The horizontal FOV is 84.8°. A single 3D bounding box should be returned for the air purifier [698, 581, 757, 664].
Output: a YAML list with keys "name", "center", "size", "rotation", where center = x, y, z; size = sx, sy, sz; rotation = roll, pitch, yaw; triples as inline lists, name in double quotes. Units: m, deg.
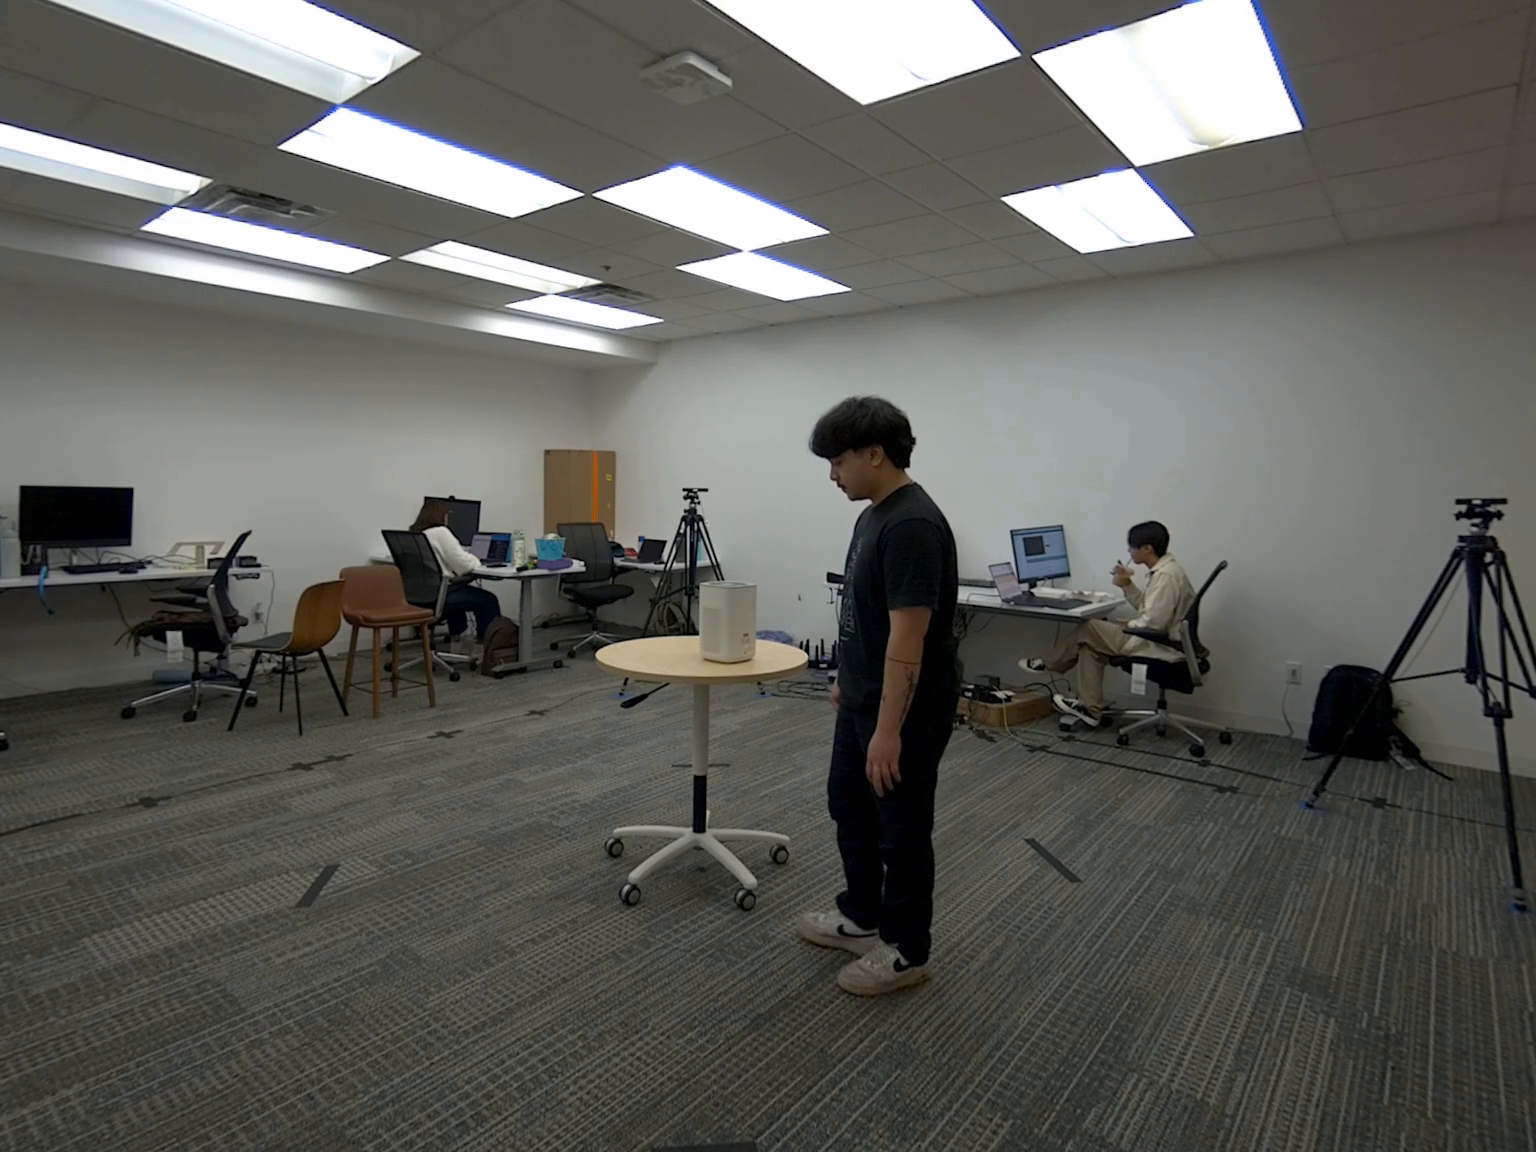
- name: "air purifier"
  center: [-0.151, 0.154, 2.976]
  size: [0.177, 0.265, 0.166]
  rotation: [3, 3, 41]
